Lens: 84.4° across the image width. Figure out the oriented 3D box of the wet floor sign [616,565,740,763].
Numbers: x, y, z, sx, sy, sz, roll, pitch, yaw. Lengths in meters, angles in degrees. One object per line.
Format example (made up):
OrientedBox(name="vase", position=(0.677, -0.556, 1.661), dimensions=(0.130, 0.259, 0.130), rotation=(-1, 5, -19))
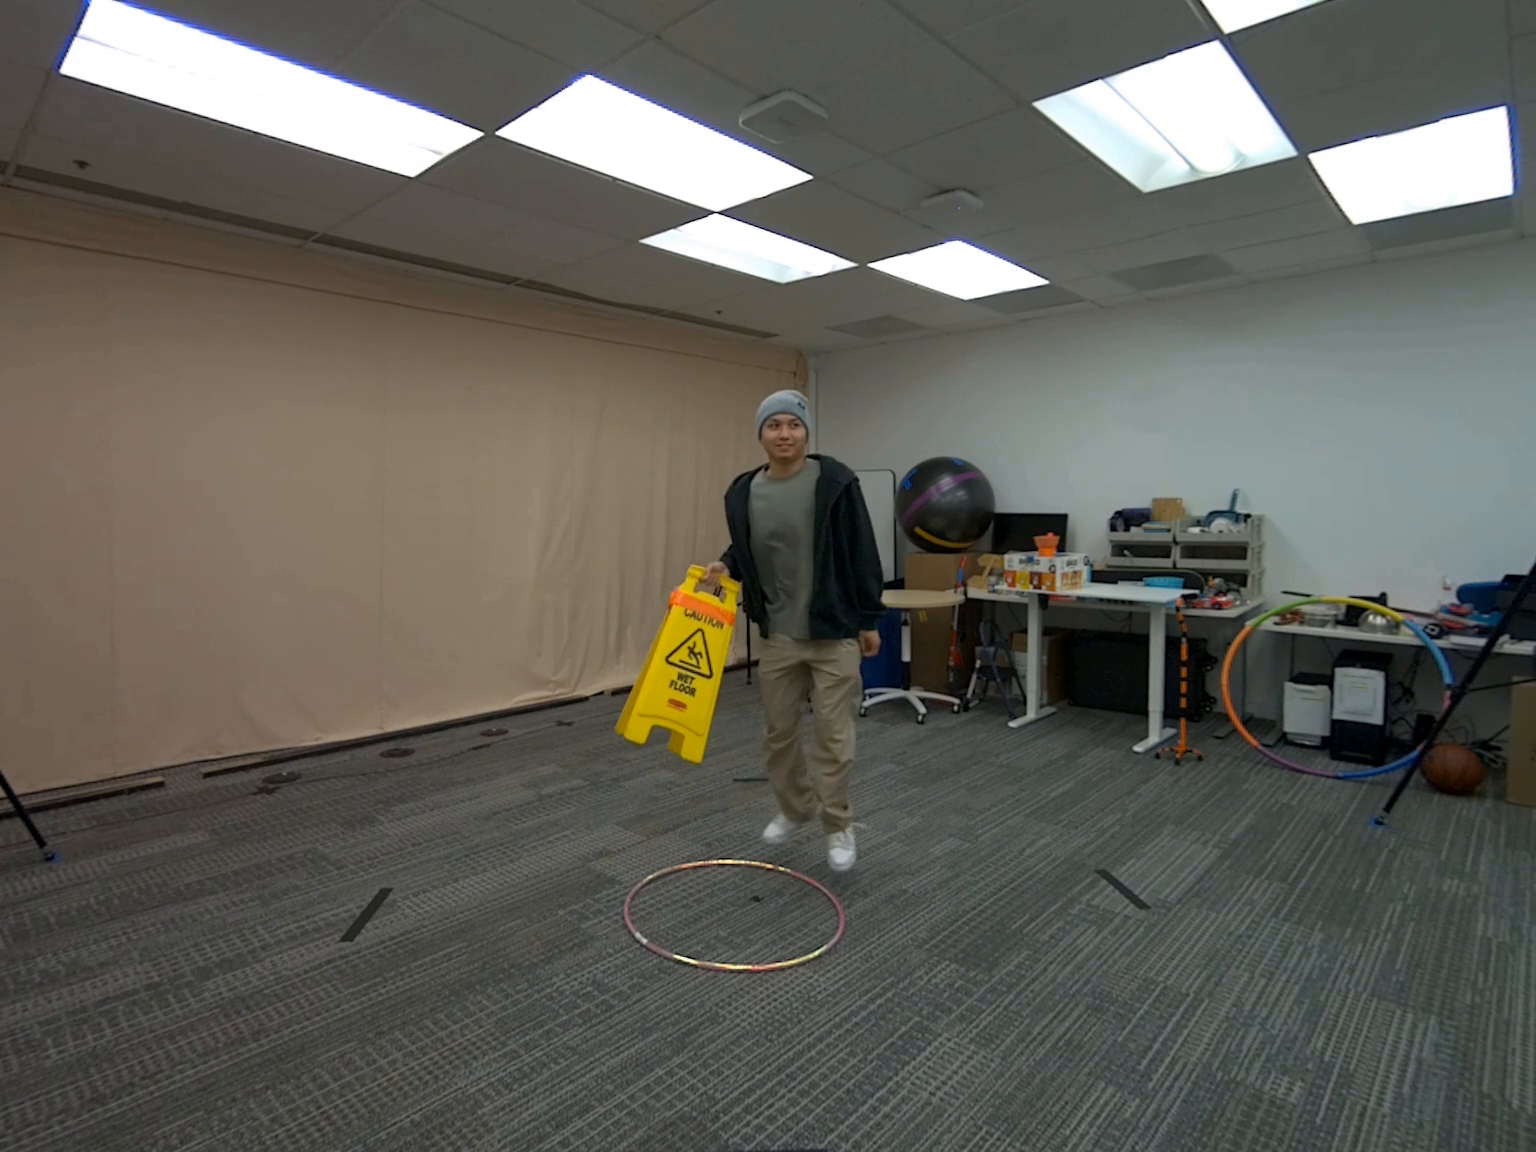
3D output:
OrientedBox(name="wet floor sign", position=(-0.290, 0.336, 2.991), dimensions=(0.279, 0.648, 0.292), rotation=(20, -10, -11))
